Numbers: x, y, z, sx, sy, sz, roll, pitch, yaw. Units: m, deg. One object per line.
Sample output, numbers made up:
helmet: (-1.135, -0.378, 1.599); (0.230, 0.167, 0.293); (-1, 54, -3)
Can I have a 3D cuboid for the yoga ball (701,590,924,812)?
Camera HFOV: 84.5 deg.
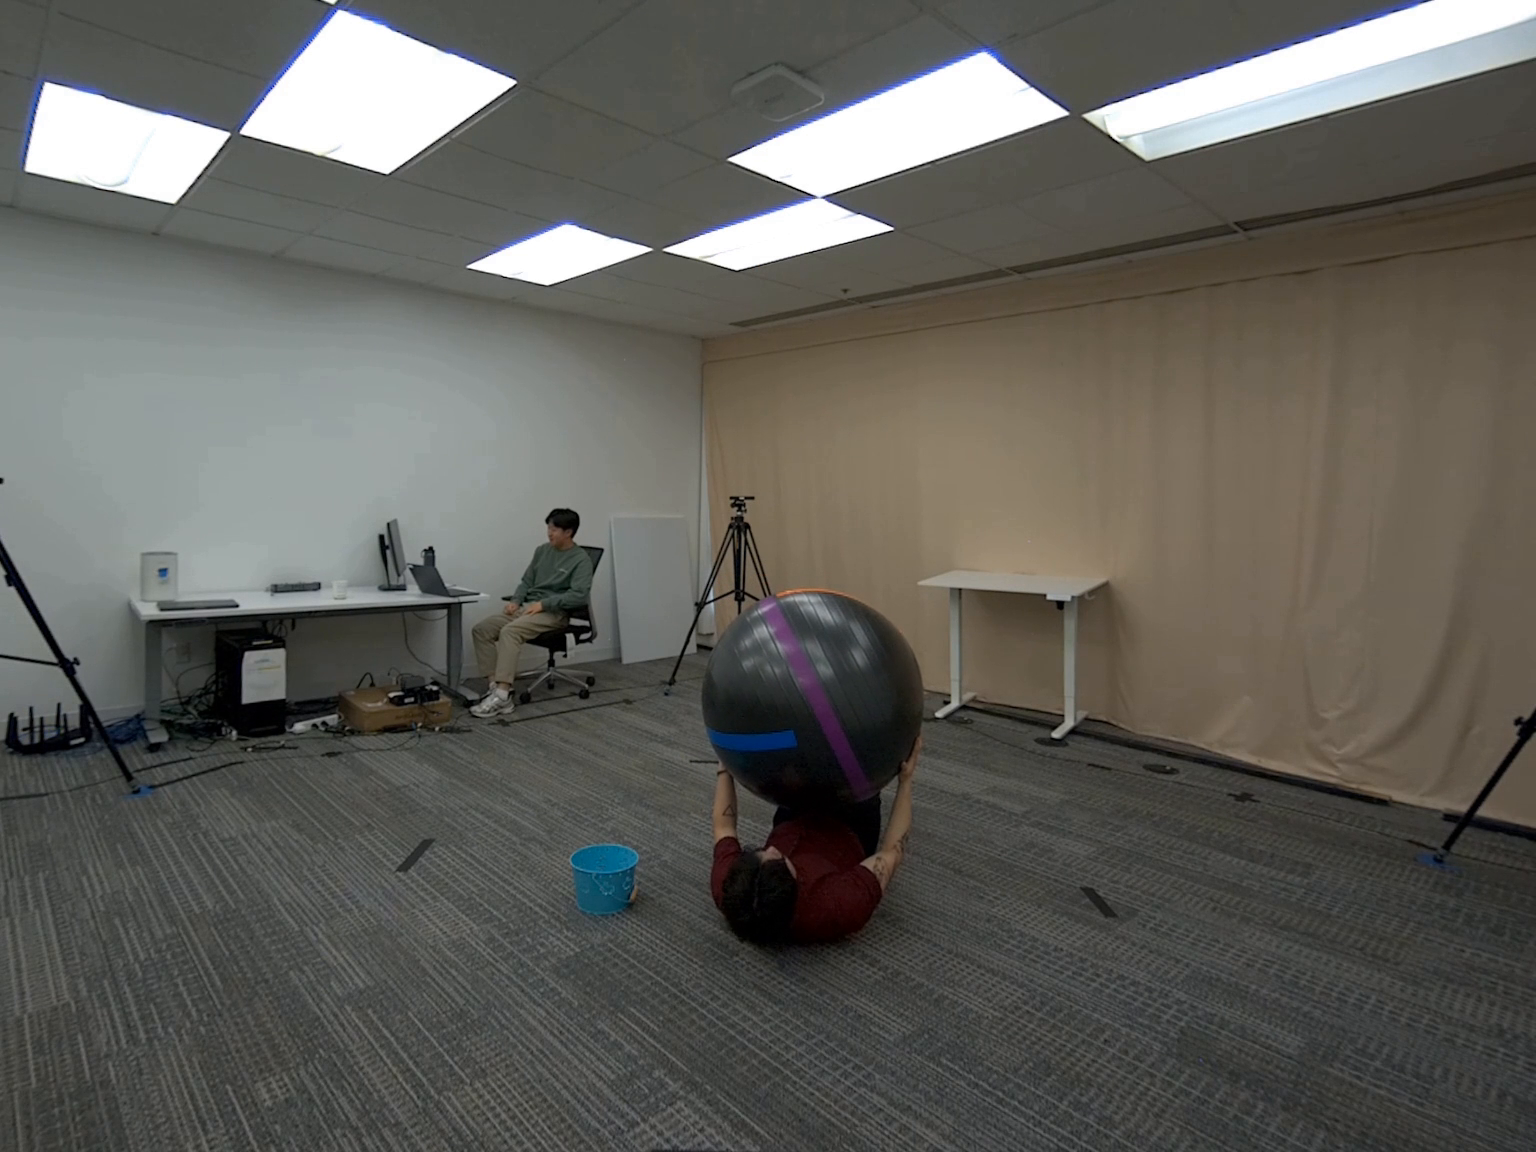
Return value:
yoga ball: (0.152, 0.425, 2.922); (0.757, 0.756, 0.761); (1, 4, -1)
